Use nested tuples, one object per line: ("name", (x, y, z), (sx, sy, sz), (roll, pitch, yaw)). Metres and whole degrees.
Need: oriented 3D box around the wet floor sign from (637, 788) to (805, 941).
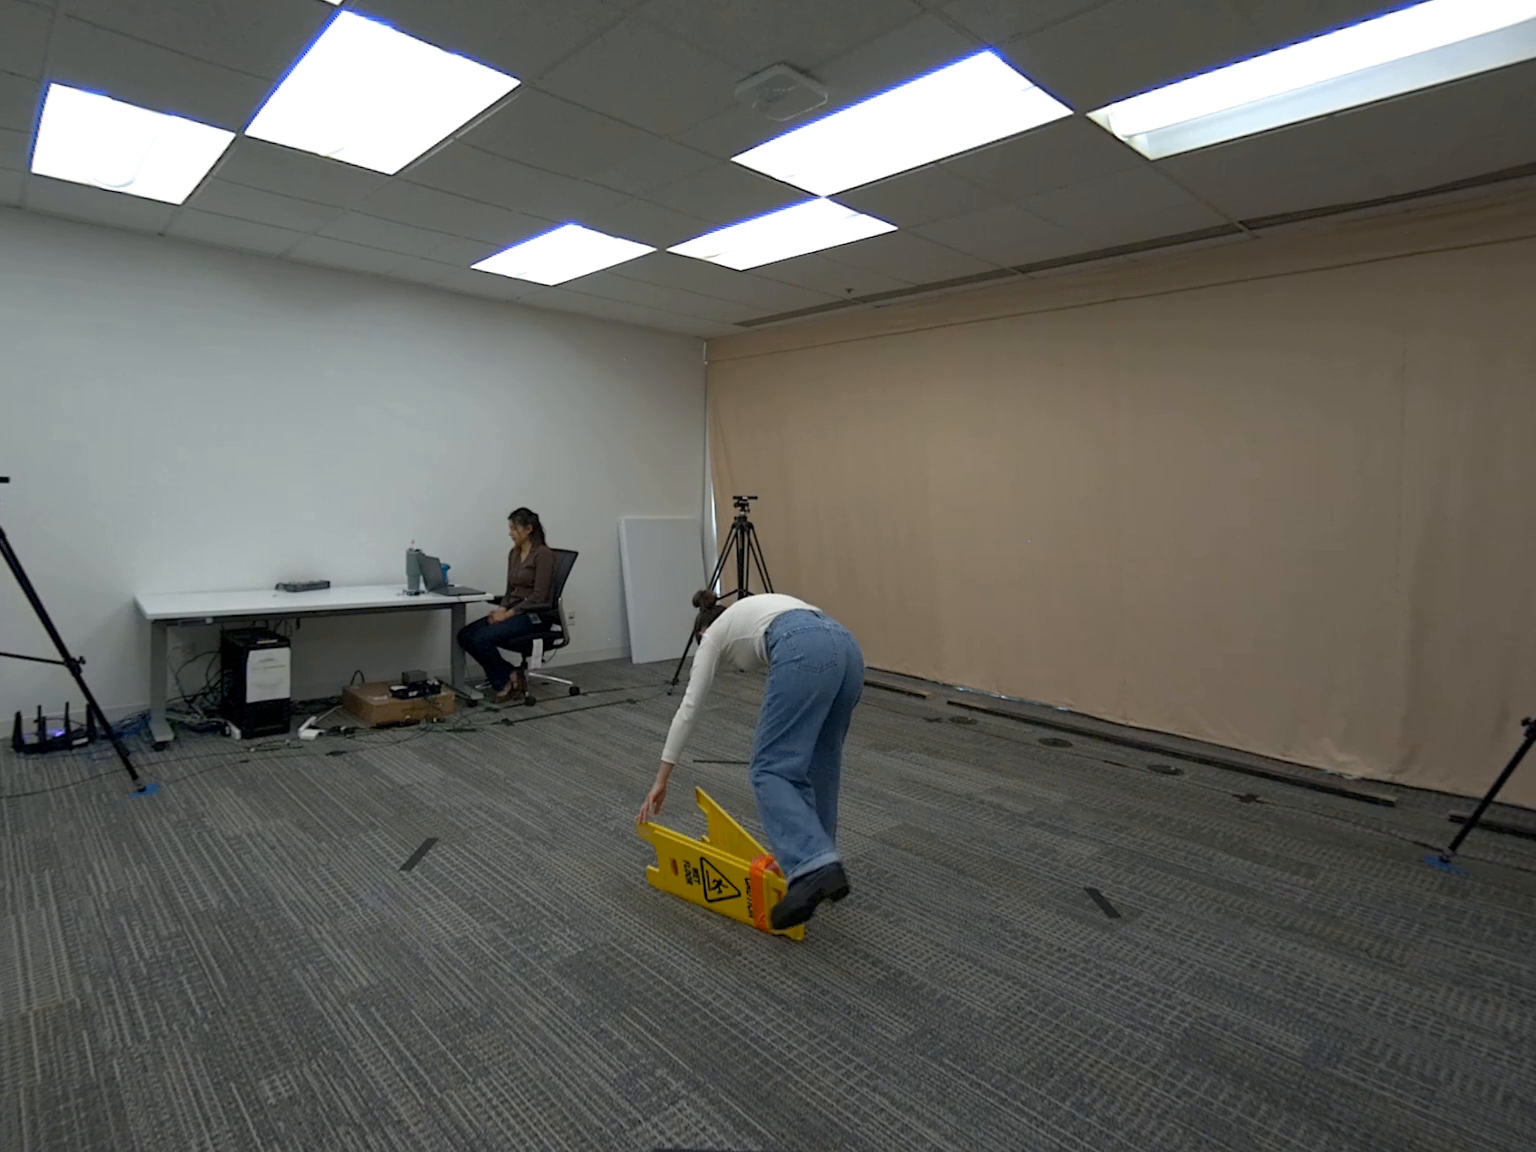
("wet floor sign", (-0.128, 0.991, 2.831), (0.285, 0.279, 0.664), (-19, 21, -40))
